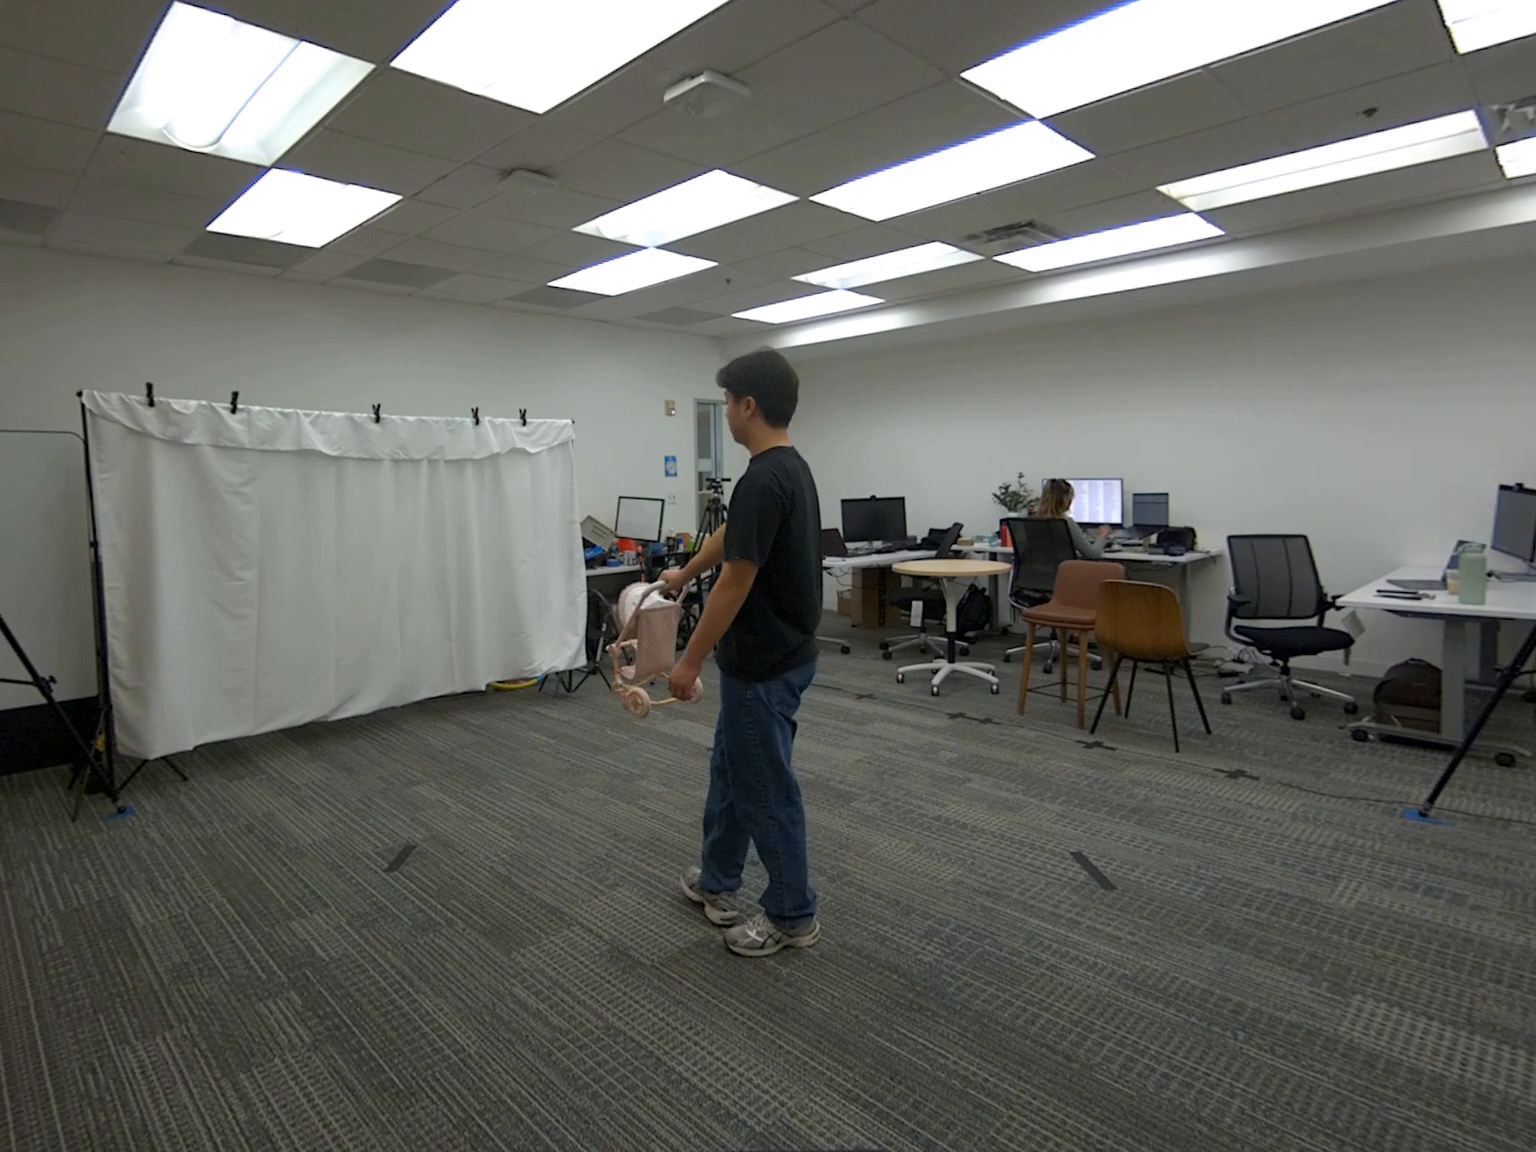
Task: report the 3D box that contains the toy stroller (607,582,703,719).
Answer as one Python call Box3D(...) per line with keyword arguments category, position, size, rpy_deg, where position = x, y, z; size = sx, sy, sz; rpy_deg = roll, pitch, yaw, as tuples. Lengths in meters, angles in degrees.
Box3D(category="toy stroller", position=(-0.442, 0.267, 3.125), size=(0.274, 0.532, 0.352), rpy_deg=(-6, 8, -40))
